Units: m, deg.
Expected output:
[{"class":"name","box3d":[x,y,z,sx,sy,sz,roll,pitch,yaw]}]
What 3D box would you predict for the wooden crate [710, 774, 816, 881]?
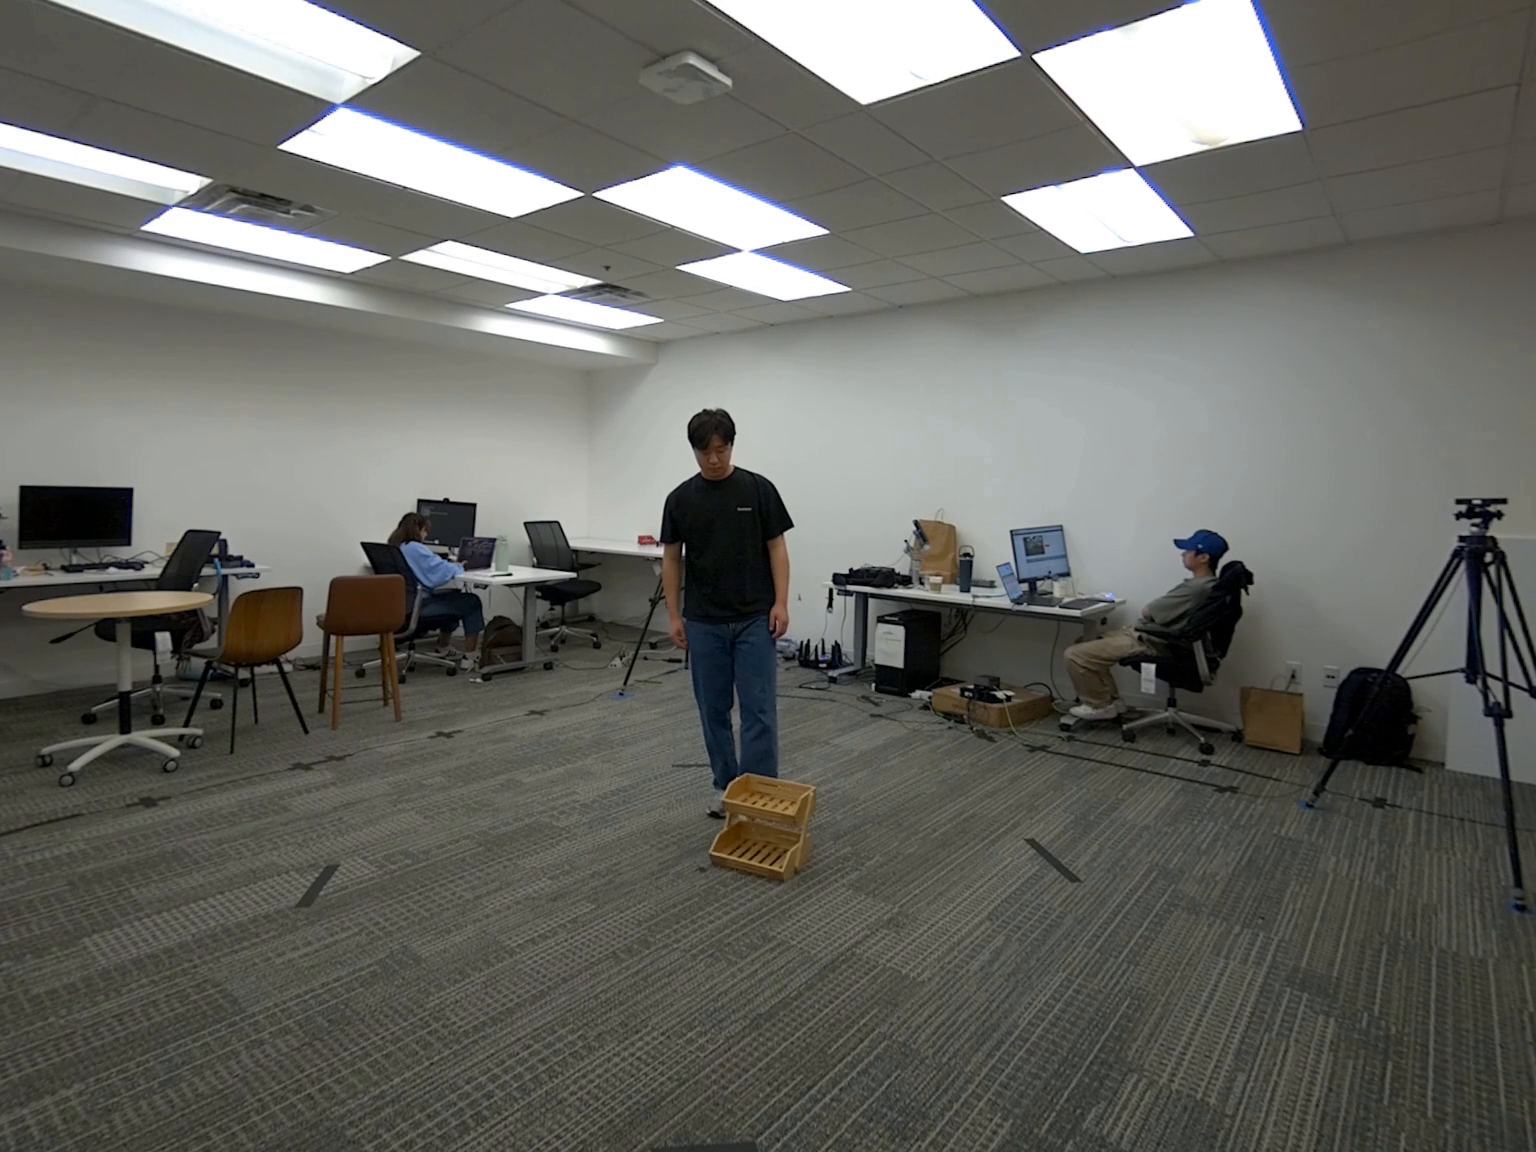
[{"class":"wooden crate","box3d":[-0.025,0.930,3.198,0.333,0.272,0.295,3,4,26]}]
